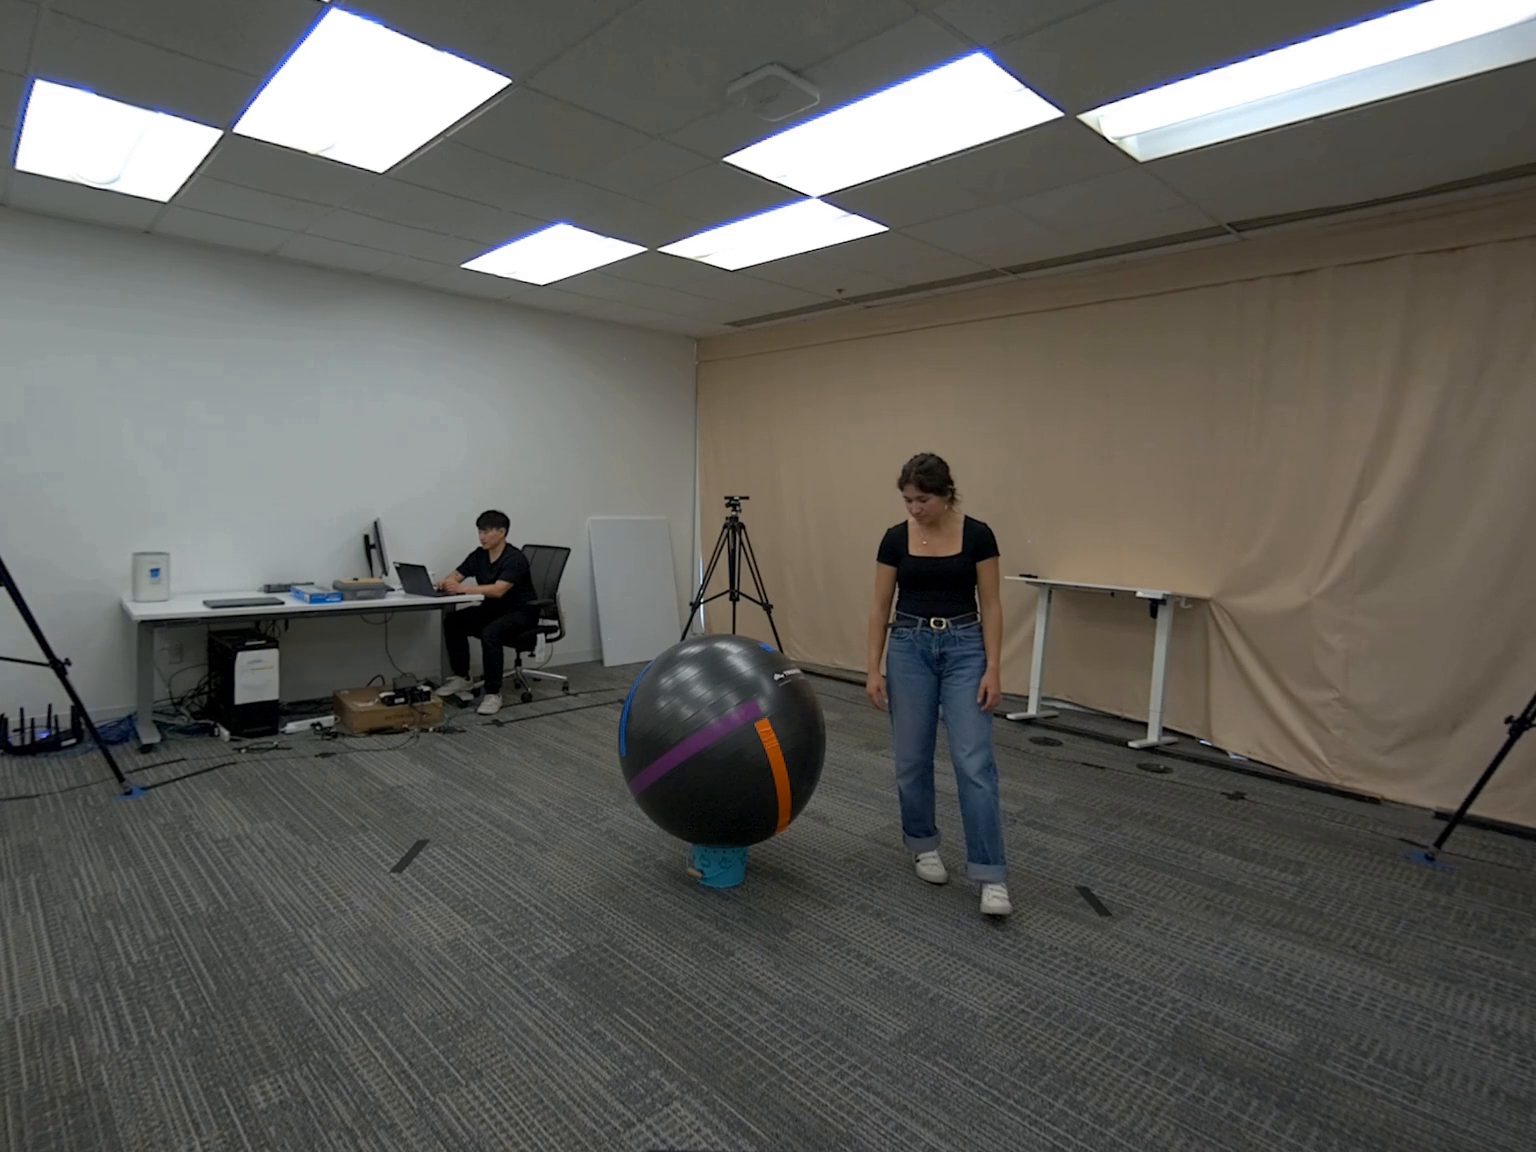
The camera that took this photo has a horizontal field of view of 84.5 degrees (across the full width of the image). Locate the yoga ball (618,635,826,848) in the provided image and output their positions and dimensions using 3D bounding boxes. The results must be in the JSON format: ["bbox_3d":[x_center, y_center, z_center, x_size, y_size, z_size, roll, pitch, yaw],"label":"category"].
[{"bbox_3d":[-0.182,0.600,3.064,0.757,0.756,0.761,1,4,-1],"label":"yoga ball"}]
